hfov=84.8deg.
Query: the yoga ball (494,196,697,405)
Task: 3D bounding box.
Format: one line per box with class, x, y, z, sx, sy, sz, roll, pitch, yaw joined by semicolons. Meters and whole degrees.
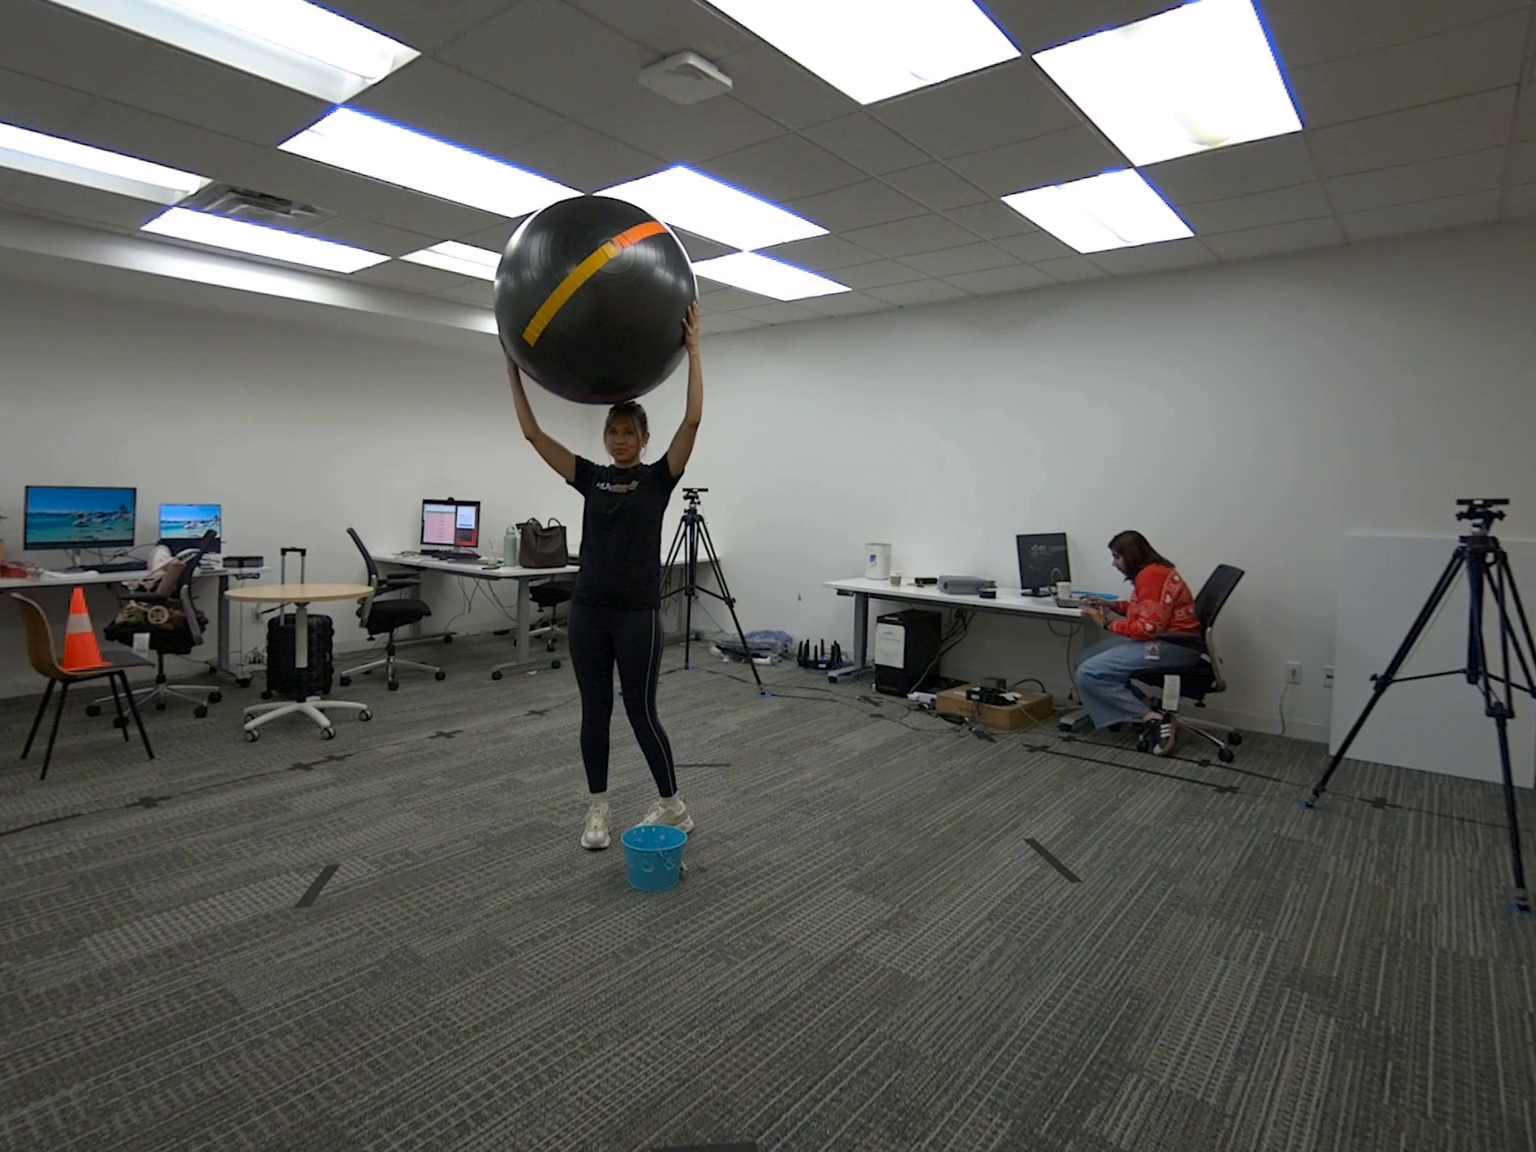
yoga ball;-0.649;-1.019;3.184;0.757;0.755;0.762;1;4;-2
